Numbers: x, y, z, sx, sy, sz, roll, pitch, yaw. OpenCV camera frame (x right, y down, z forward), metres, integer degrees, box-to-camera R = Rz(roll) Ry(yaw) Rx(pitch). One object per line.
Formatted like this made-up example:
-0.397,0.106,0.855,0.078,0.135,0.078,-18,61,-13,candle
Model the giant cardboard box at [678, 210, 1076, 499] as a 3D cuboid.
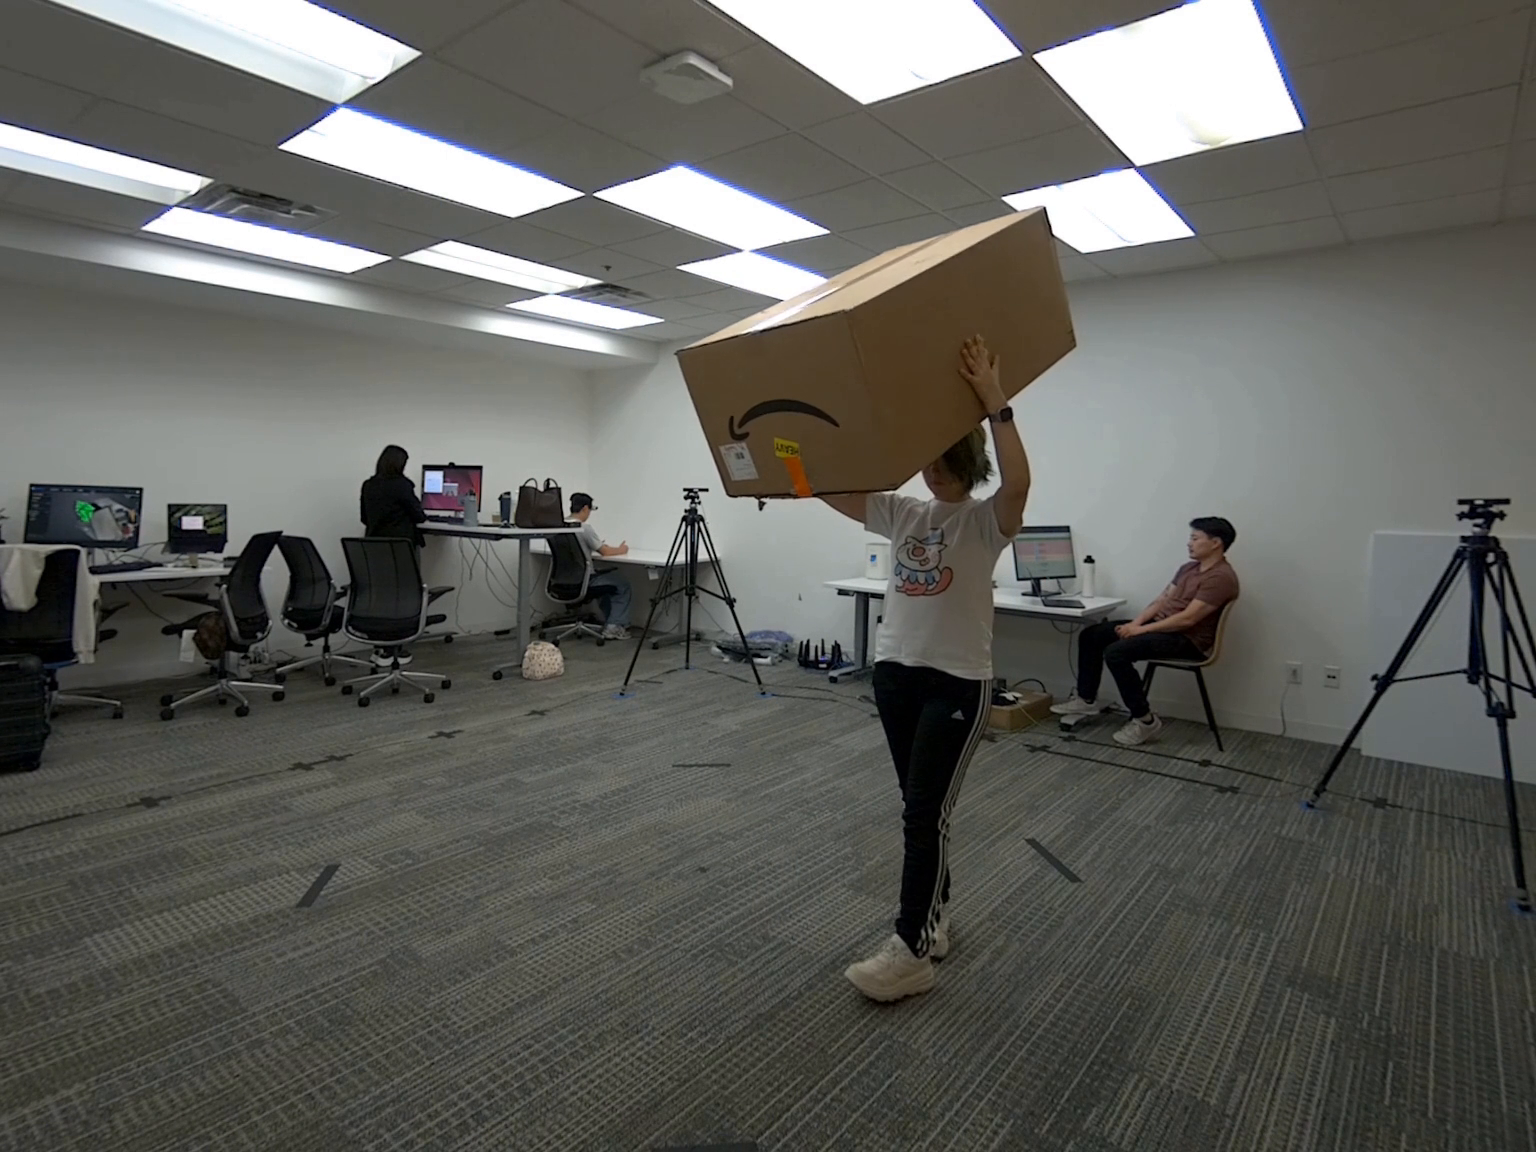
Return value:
0.330,-0.628,2.383,0.603,0.436,1.019,3,32,45,giant cardboard box
